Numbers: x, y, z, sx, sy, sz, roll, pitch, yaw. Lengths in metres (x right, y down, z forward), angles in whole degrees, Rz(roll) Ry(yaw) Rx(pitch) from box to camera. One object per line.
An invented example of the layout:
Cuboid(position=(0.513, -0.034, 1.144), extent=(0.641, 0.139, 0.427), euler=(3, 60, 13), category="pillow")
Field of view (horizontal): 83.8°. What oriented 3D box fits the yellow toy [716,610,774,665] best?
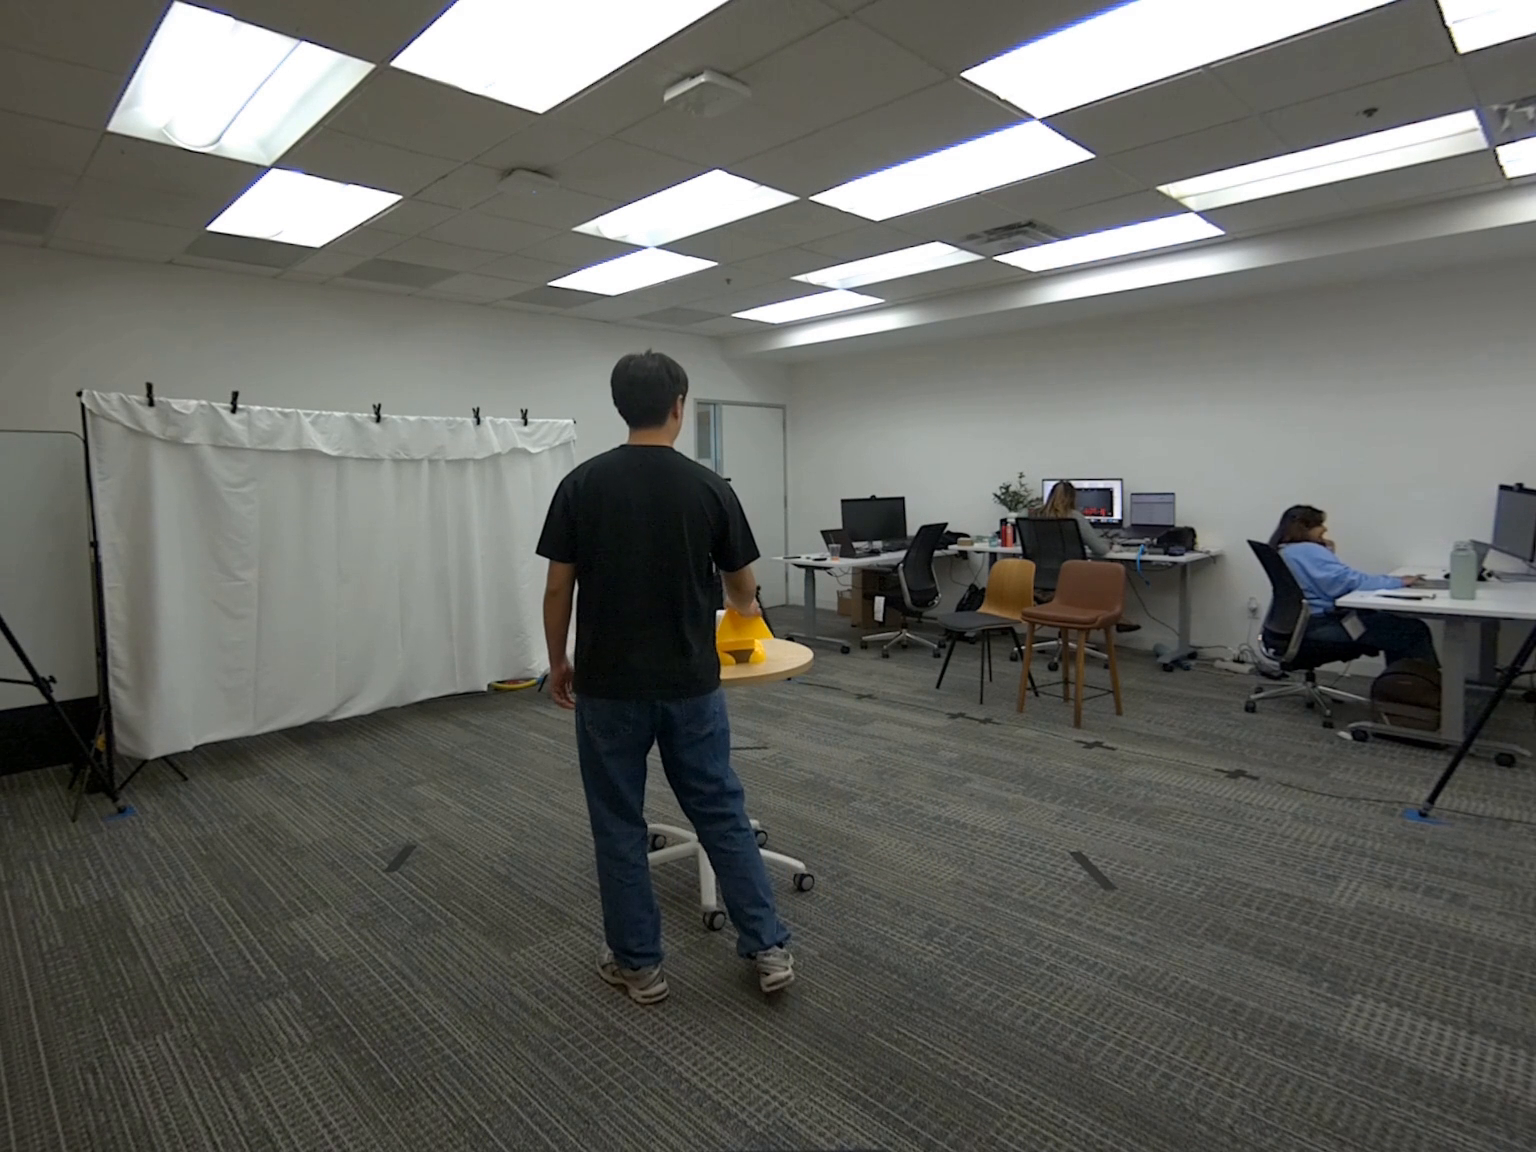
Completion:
Cuboid(position=(-0.104, 0.162, 2.831), extent=(0.201, 0.229, 0.197), euler=(-3, 7, -20), category="yellow toy")
